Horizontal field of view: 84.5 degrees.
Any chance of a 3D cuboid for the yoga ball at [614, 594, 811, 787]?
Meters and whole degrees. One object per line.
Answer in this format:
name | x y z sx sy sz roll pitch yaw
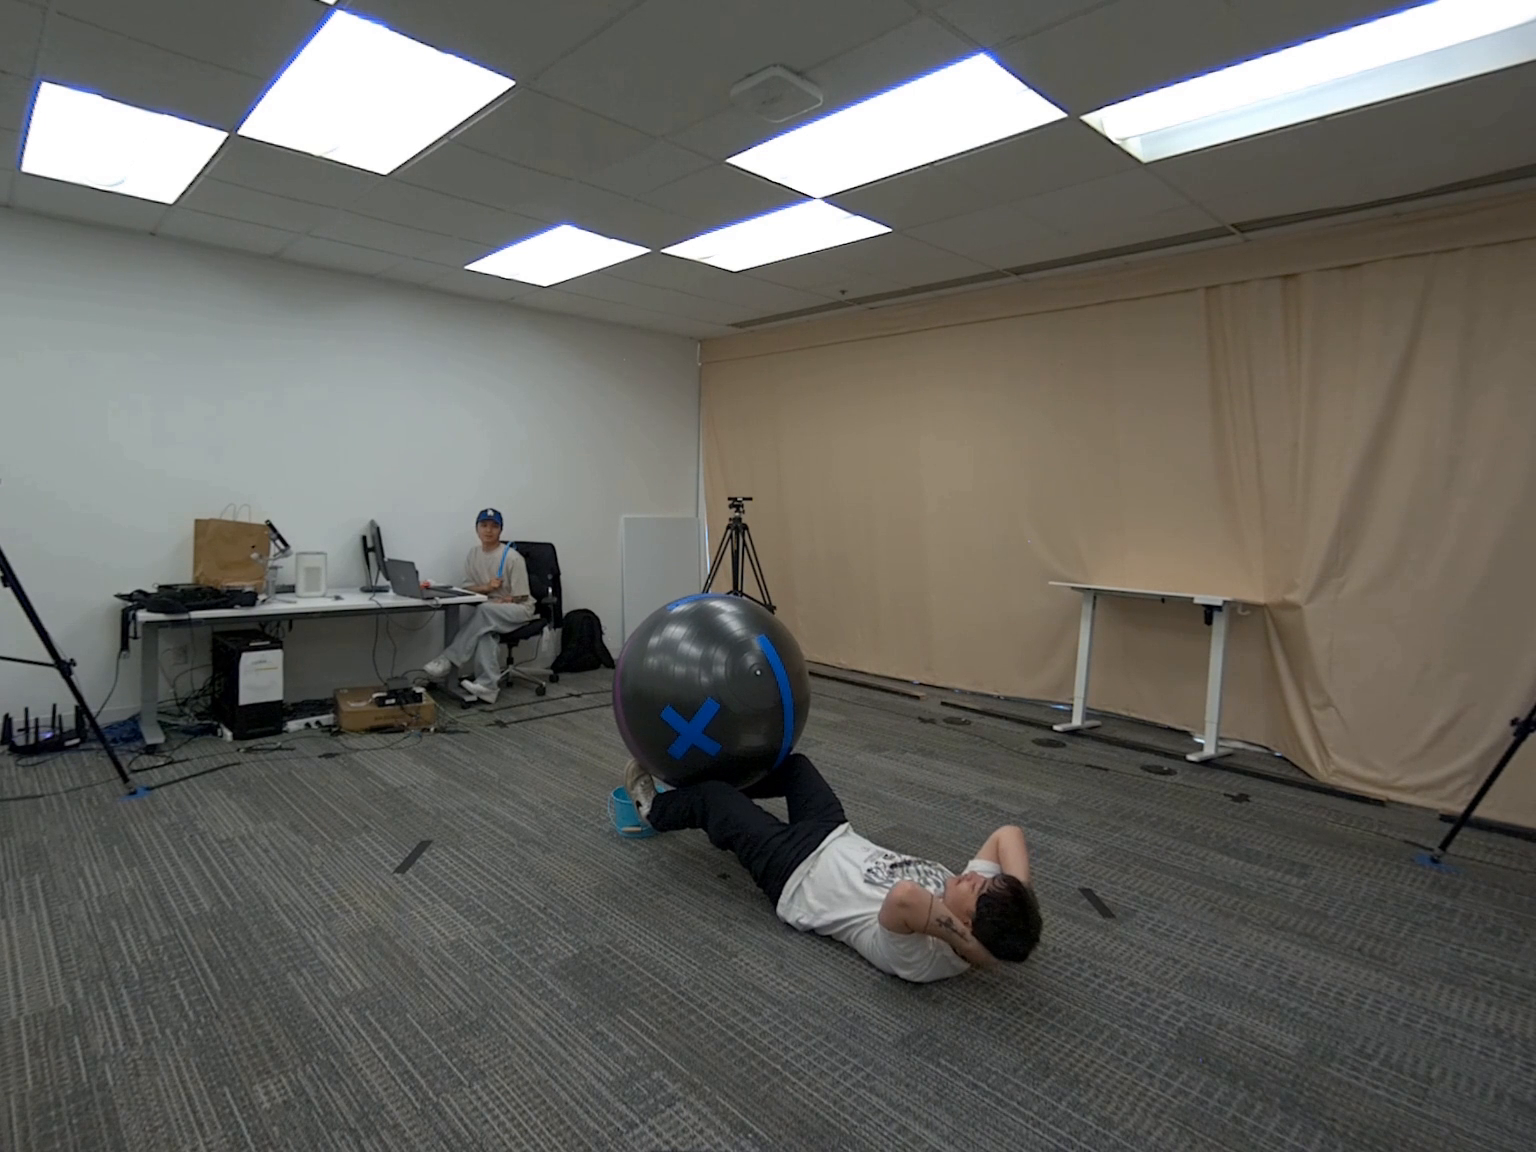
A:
yoga ball | -0.221 0.442 3.238 0.757 0.756 0.760 1 4 -1
